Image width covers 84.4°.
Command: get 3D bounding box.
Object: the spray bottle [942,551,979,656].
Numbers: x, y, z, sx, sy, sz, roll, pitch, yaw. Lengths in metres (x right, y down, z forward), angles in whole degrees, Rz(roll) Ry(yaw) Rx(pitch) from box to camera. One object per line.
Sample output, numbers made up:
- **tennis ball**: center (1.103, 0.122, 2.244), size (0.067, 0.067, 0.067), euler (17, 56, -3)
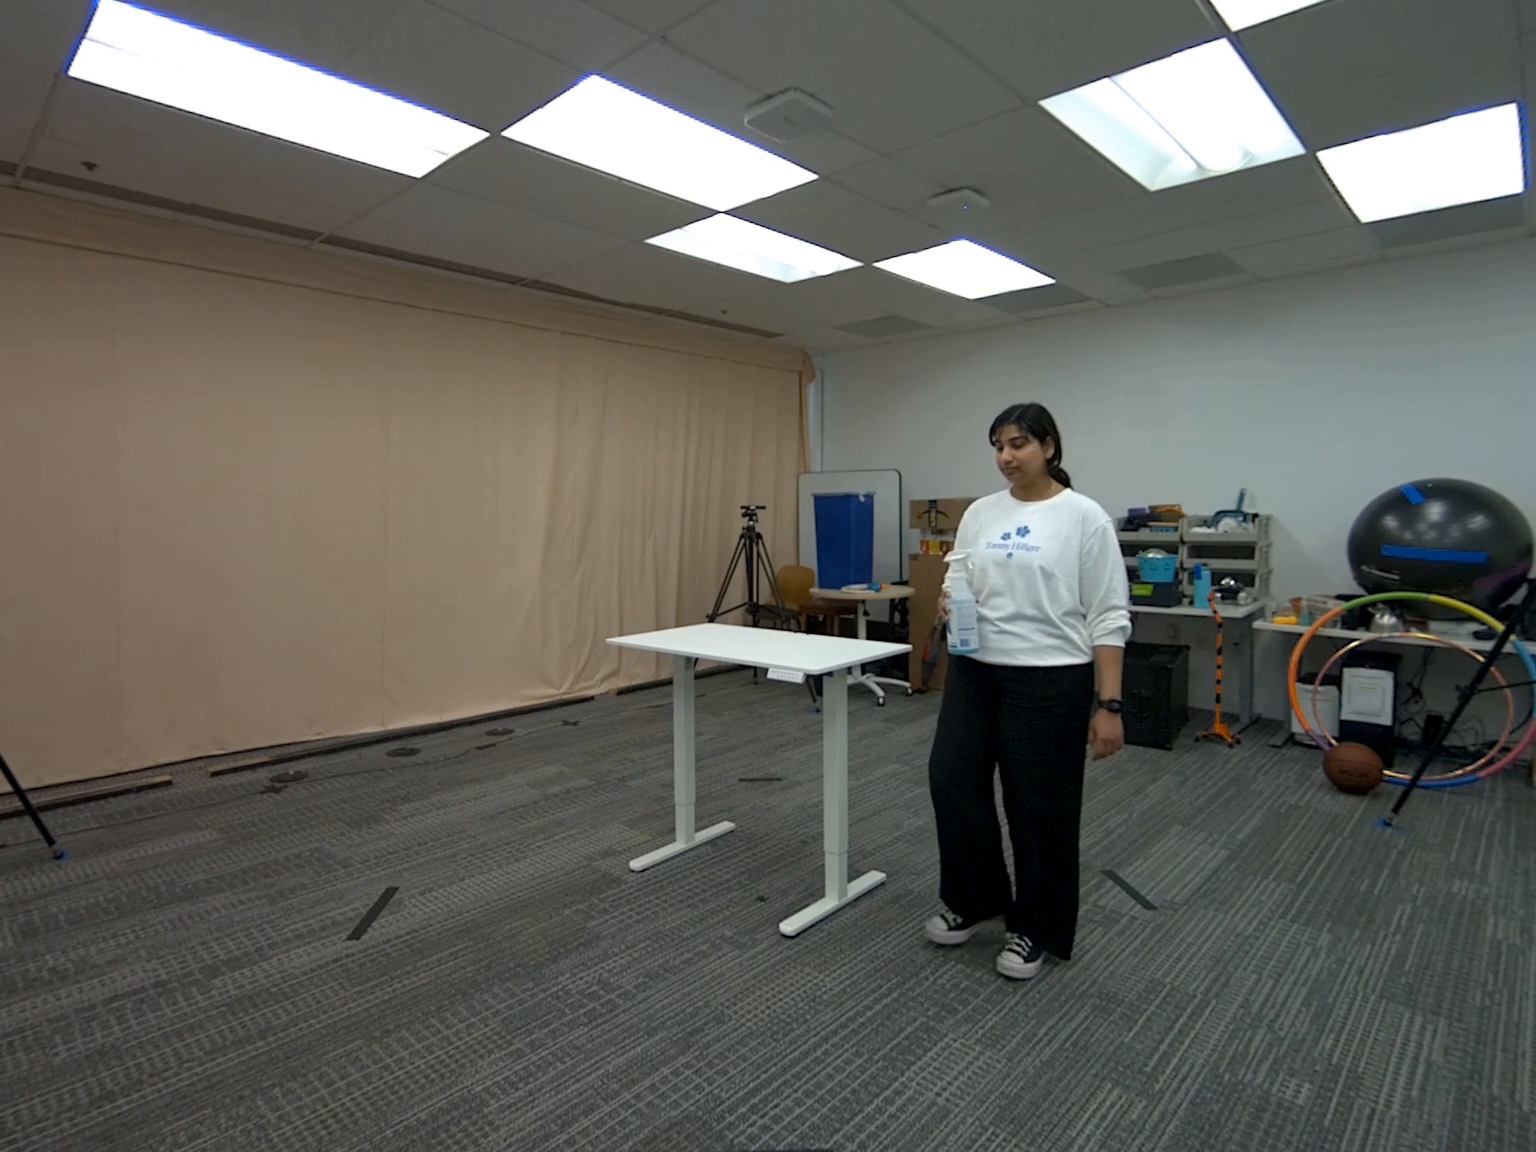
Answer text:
- **spray bottle**: center (0.583, 0.081, 2.412), size (0.085, 0.297, 0.092), euler (-2, 2, -18)
